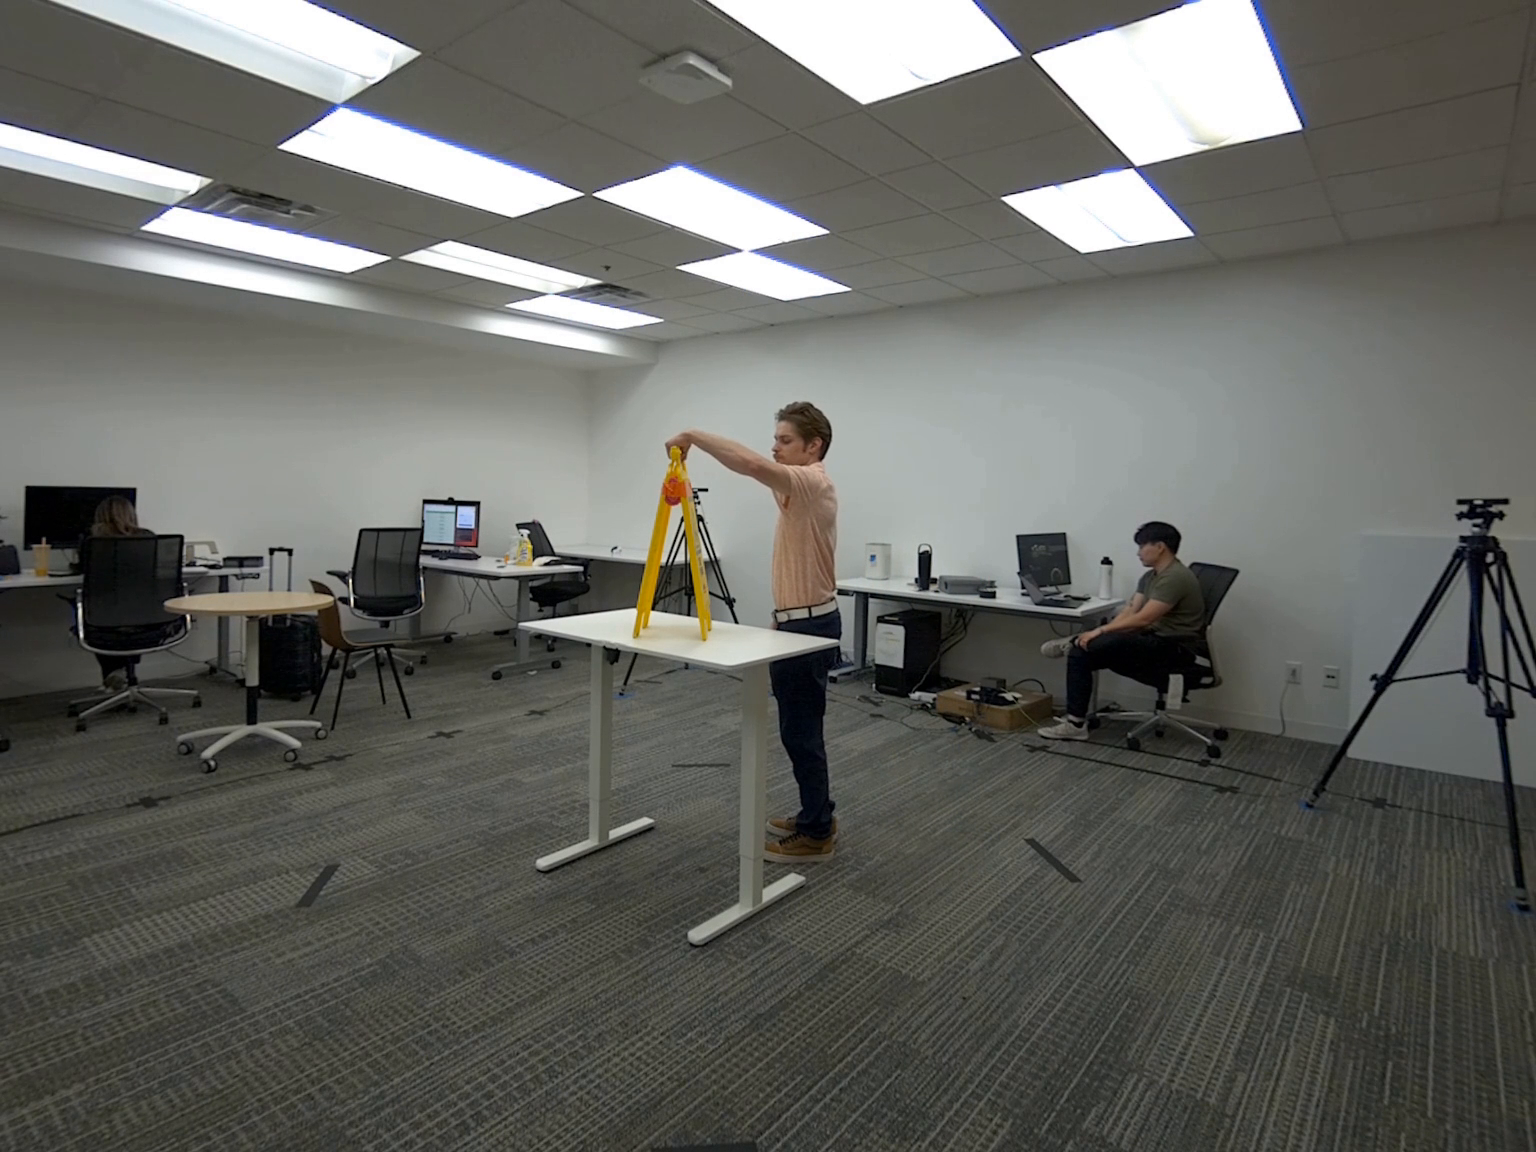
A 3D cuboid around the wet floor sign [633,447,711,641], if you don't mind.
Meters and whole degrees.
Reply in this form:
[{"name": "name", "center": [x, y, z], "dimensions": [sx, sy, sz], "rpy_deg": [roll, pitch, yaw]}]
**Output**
[{"name": "wet floor sign", "center": [-0.329, -0.125, 2.968], "dimensions": [0.290, 0.644, 0.283], "rpy_deg": [2, 3, 0]}]
